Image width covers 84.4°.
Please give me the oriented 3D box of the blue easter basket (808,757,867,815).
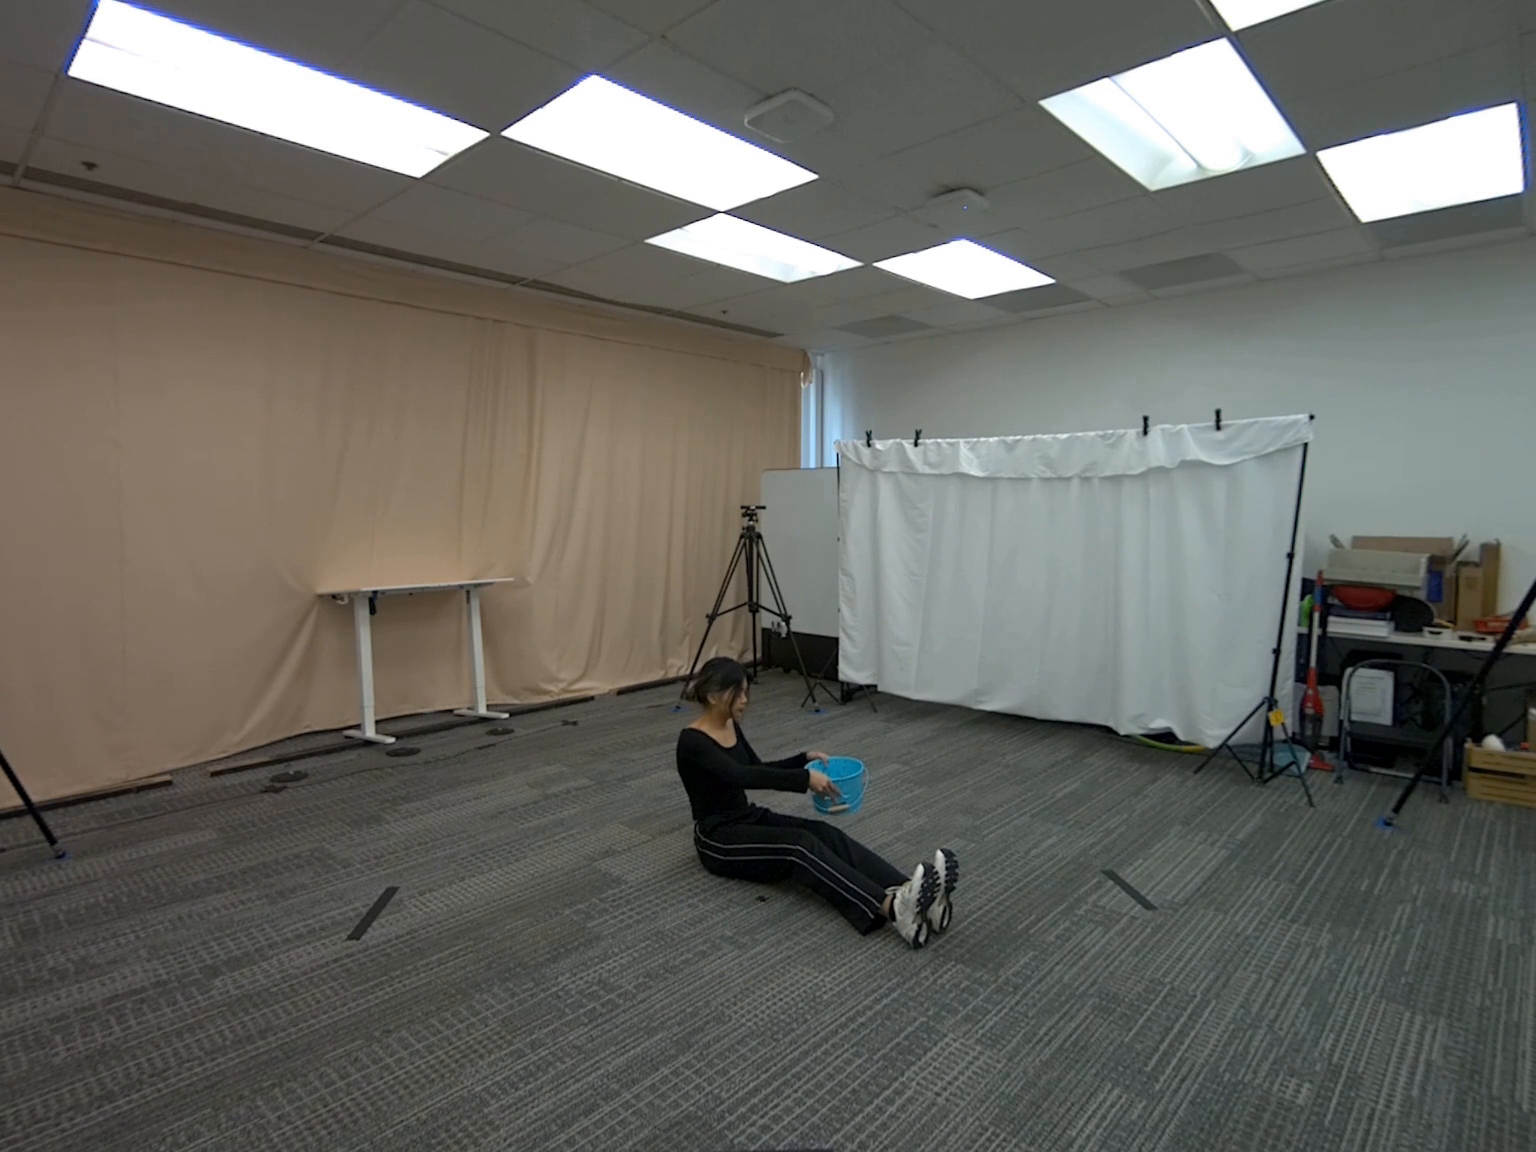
[{"bbox_3d":[0.258,0.816,3.233,0.243,0.155,0.245,-5,7,-1],"label":"blue easter basket"}]
